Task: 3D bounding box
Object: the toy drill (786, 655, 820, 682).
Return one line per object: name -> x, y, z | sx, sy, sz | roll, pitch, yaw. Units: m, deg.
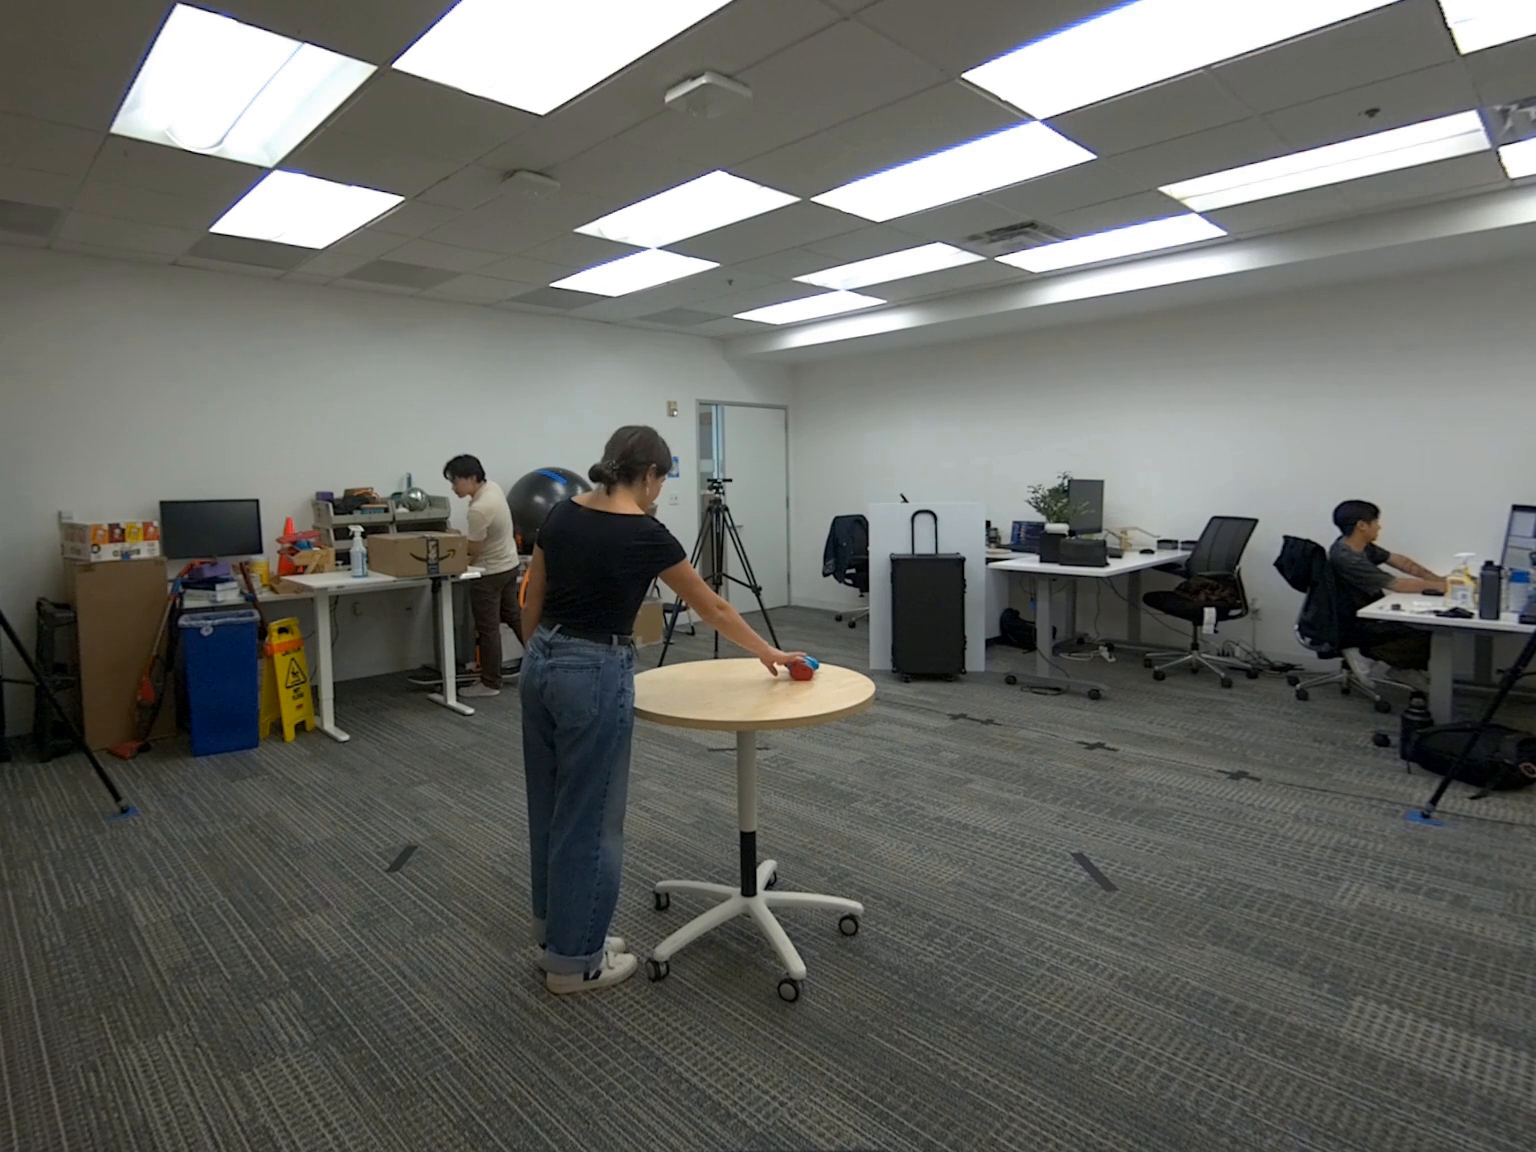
toy drill -> 0.077, 0.279, 2.666 | 0.171, 0.061, 0.145 | 9, 7, 8
